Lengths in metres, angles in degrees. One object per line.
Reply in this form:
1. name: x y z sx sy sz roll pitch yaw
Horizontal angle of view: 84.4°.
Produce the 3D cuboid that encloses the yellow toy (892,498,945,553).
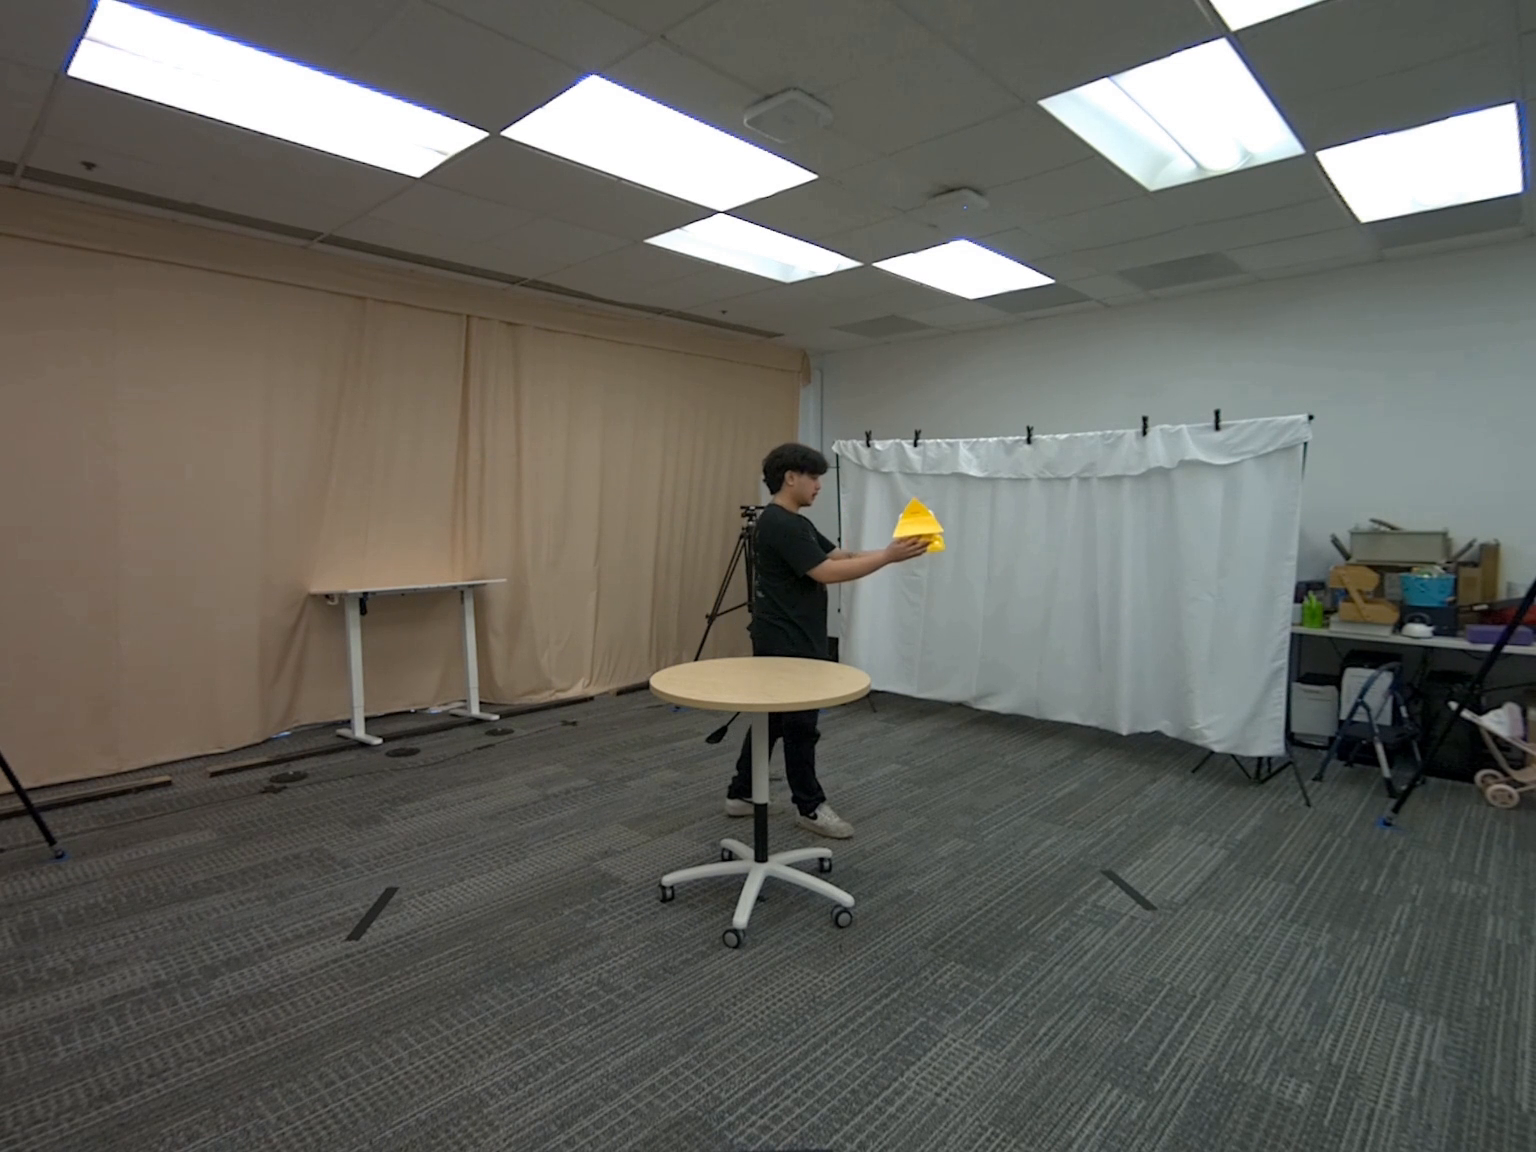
1. yellow toy: 0.626 -0.214 3.501 0.207 0.230 0.191 -6 5 11
